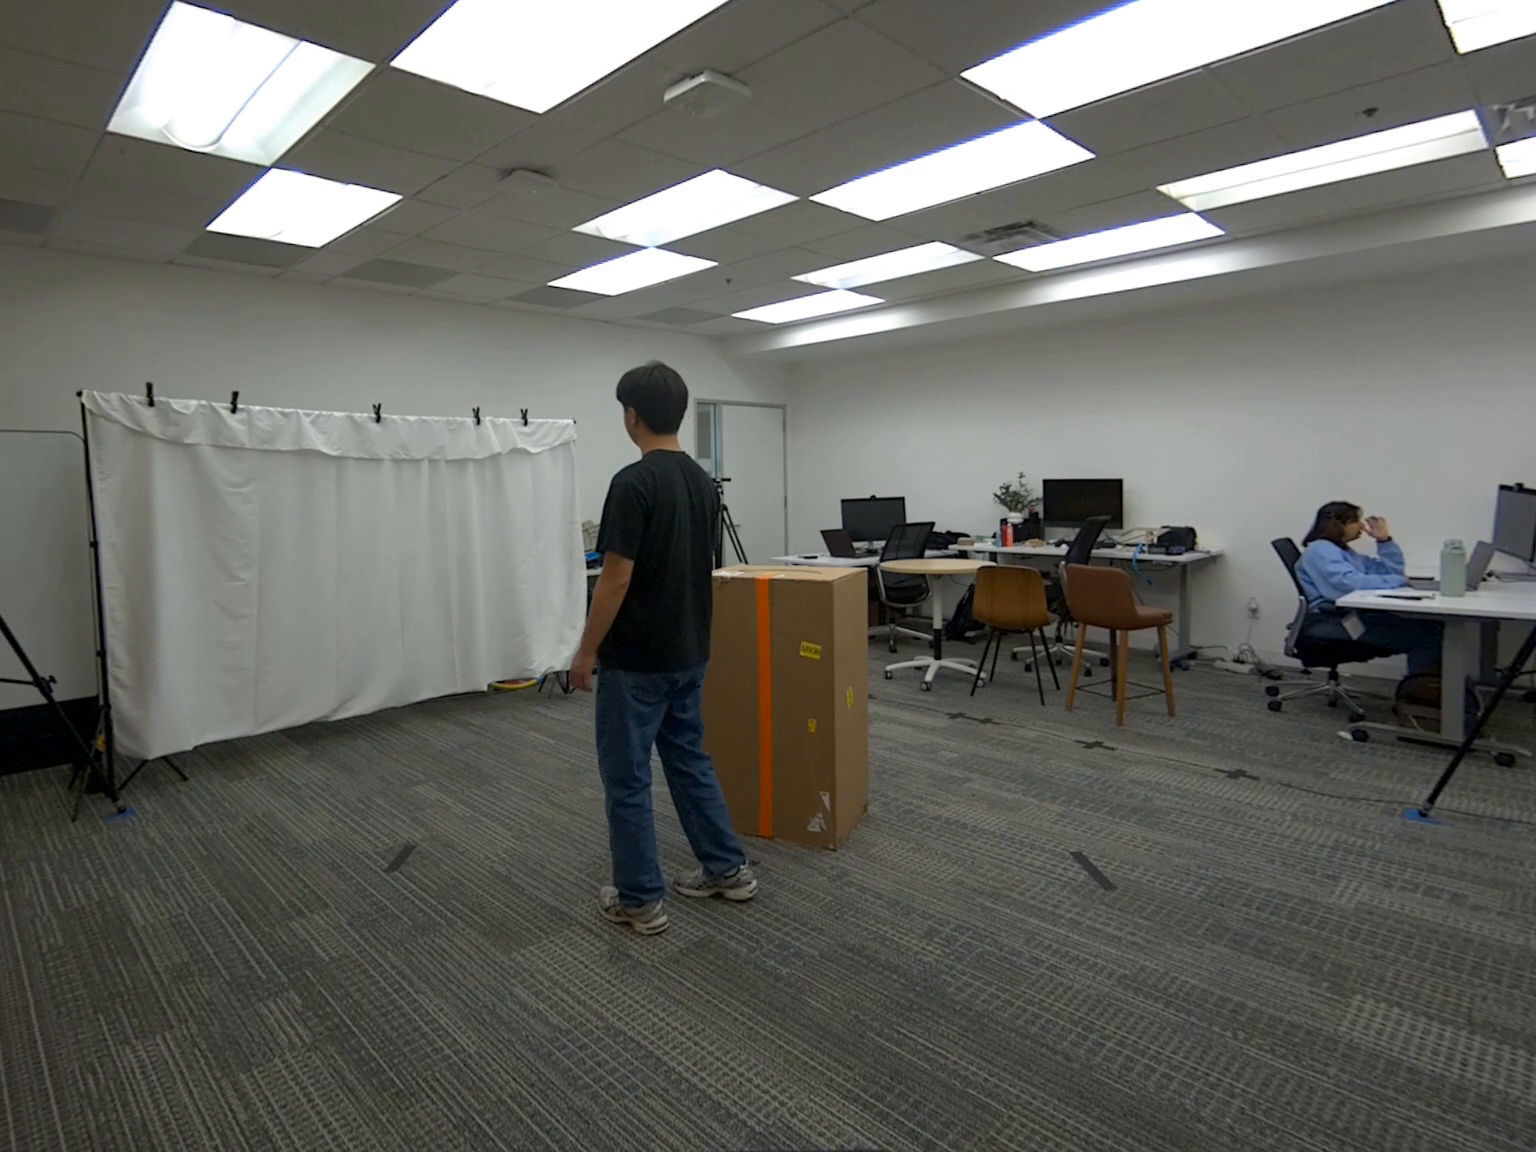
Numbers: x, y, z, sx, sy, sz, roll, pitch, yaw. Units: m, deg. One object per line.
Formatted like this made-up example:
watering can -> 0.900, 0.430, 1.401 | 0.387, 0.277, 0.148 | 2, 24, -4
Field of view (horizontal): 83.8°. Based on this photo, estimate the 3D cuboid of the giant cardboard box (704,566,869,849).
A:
giant cardboard box -> 0.073, 0.485, 3.472 | 0.598, 1.022, 0.438 | 2, 6, 27
